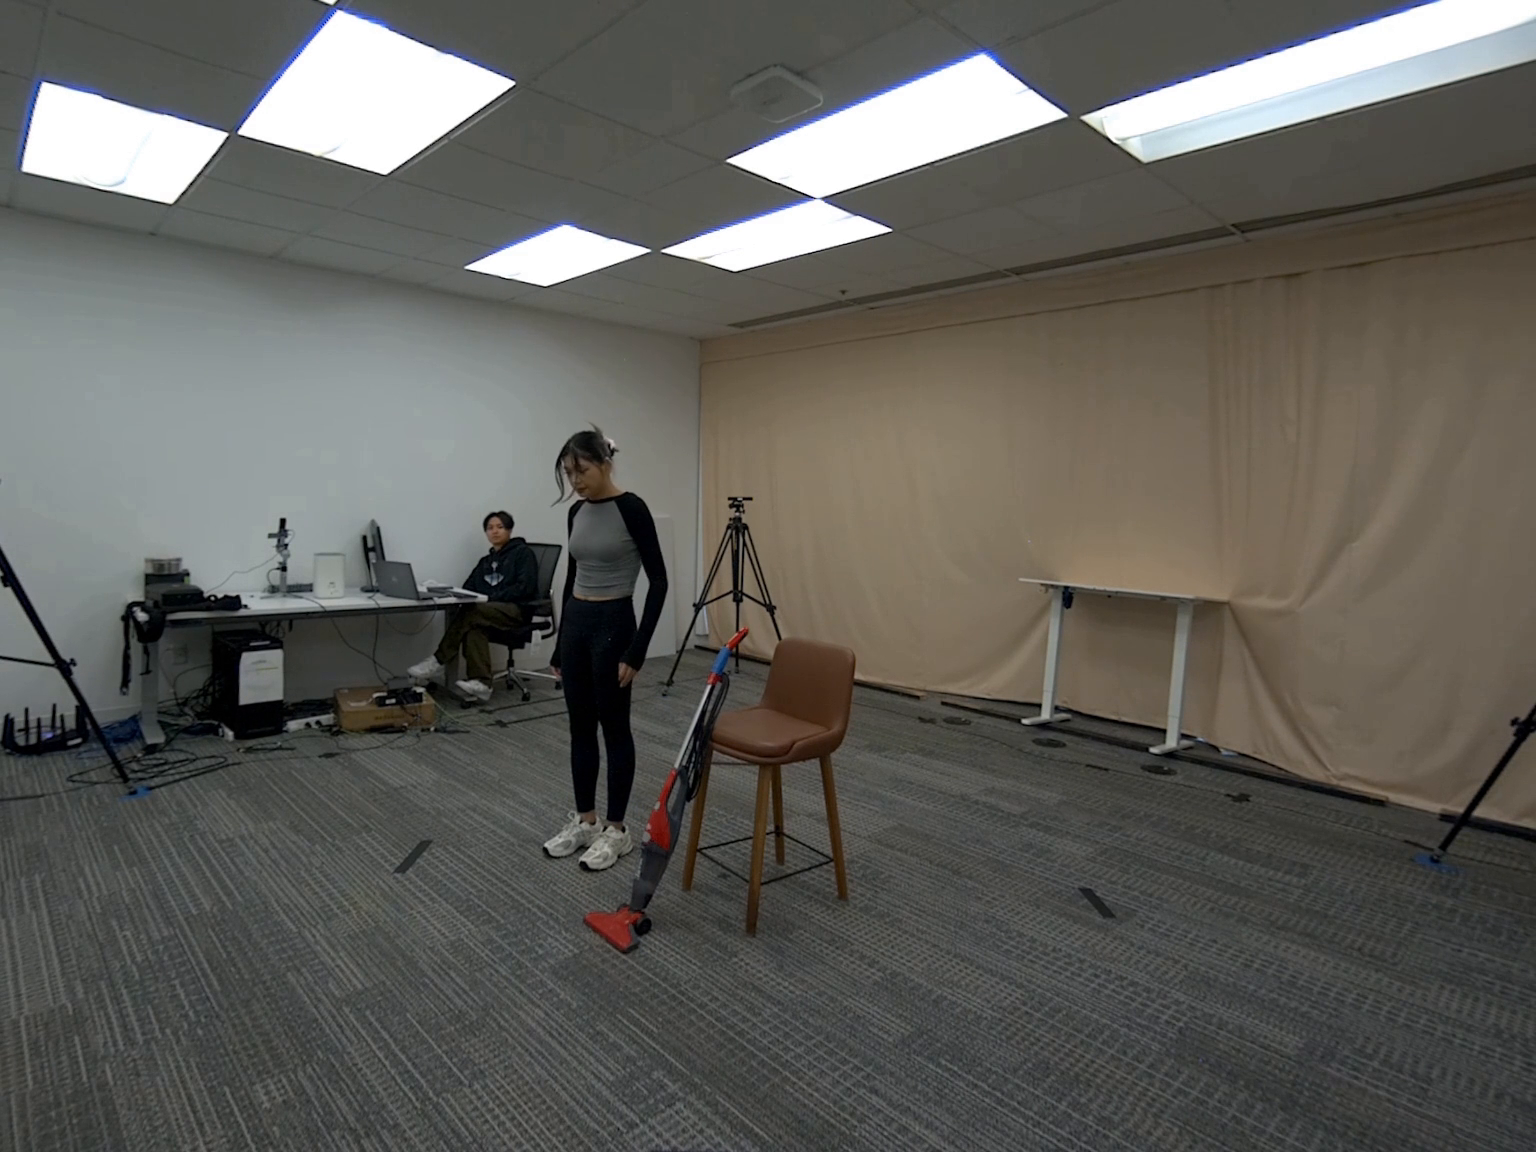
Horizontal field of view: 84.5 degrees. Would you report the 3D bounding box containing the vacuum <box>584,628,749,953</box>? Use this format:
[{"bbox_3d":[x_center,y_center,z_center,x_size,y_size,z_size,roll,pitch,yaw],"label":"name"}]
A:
[{"bbox_3d":[-0.286,0.664,2.817,0.259,1.056,0.139,5,-23,44],"label":"vacuum"}]
